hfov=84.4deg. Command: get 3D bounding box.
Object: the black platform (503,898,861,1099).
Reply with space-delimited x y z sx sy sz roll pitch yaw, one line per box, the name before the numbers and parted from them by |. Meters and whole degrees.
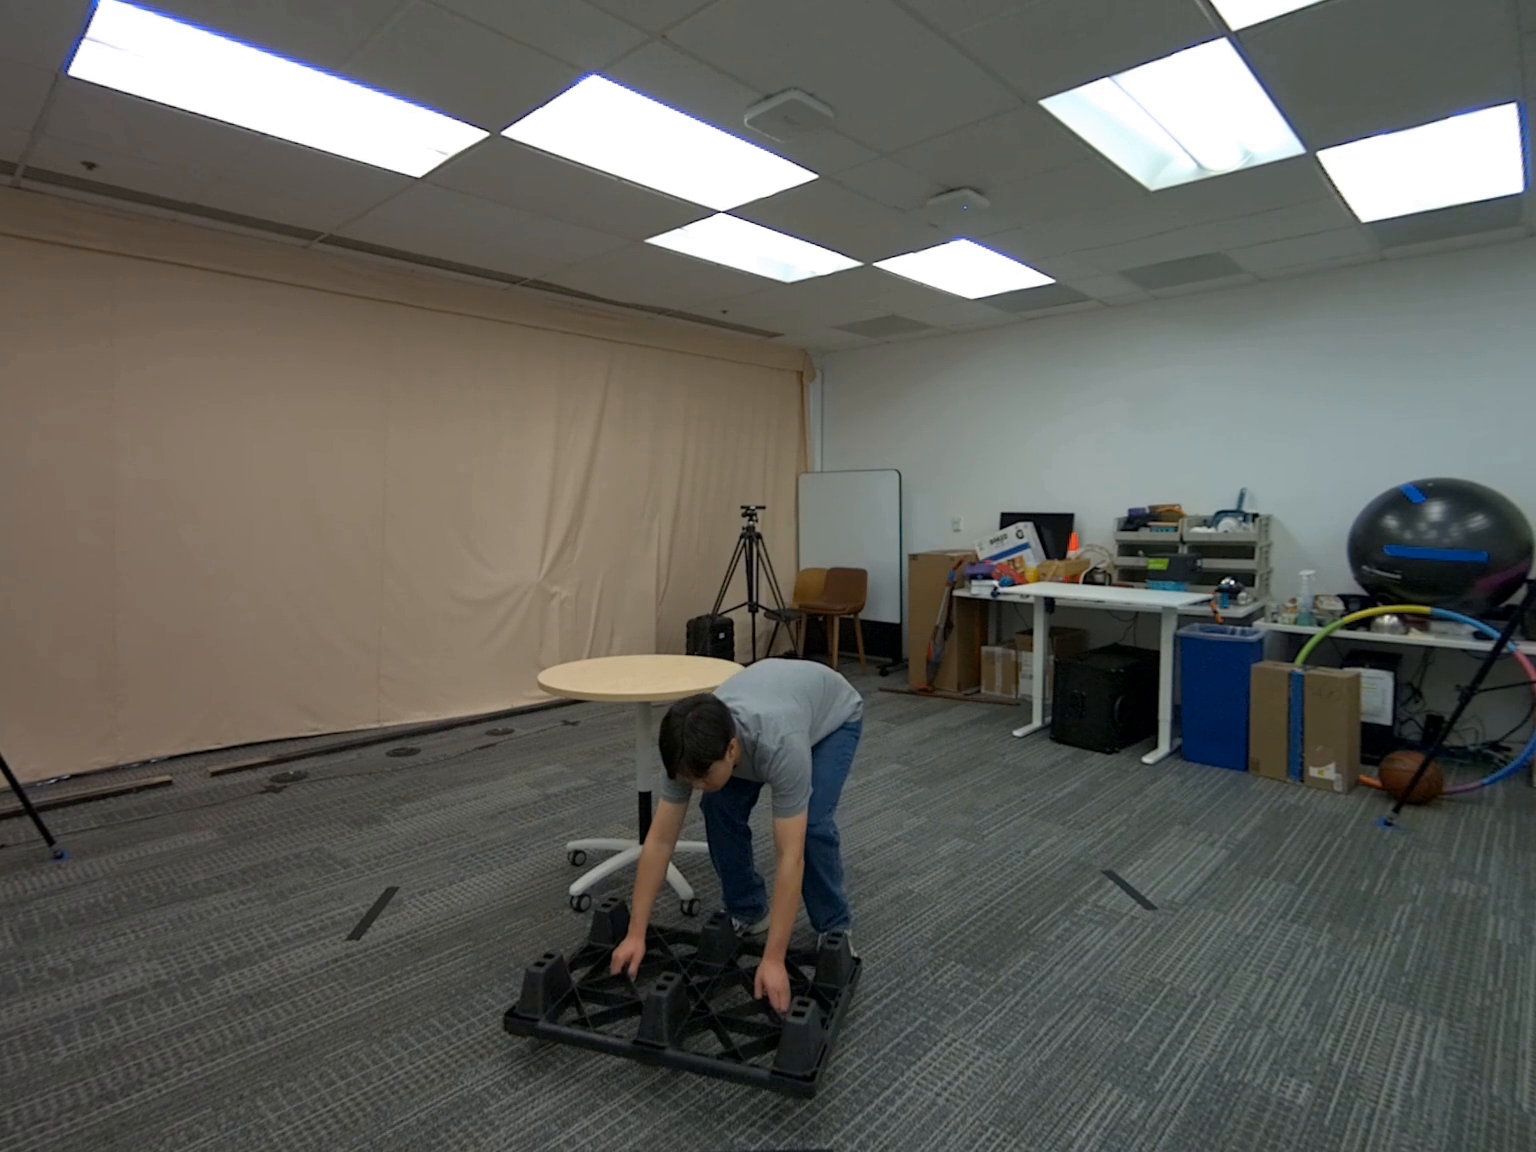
black platform | -0.192 1.059 2.228 0.822 0.143 0.594 1 3 18
